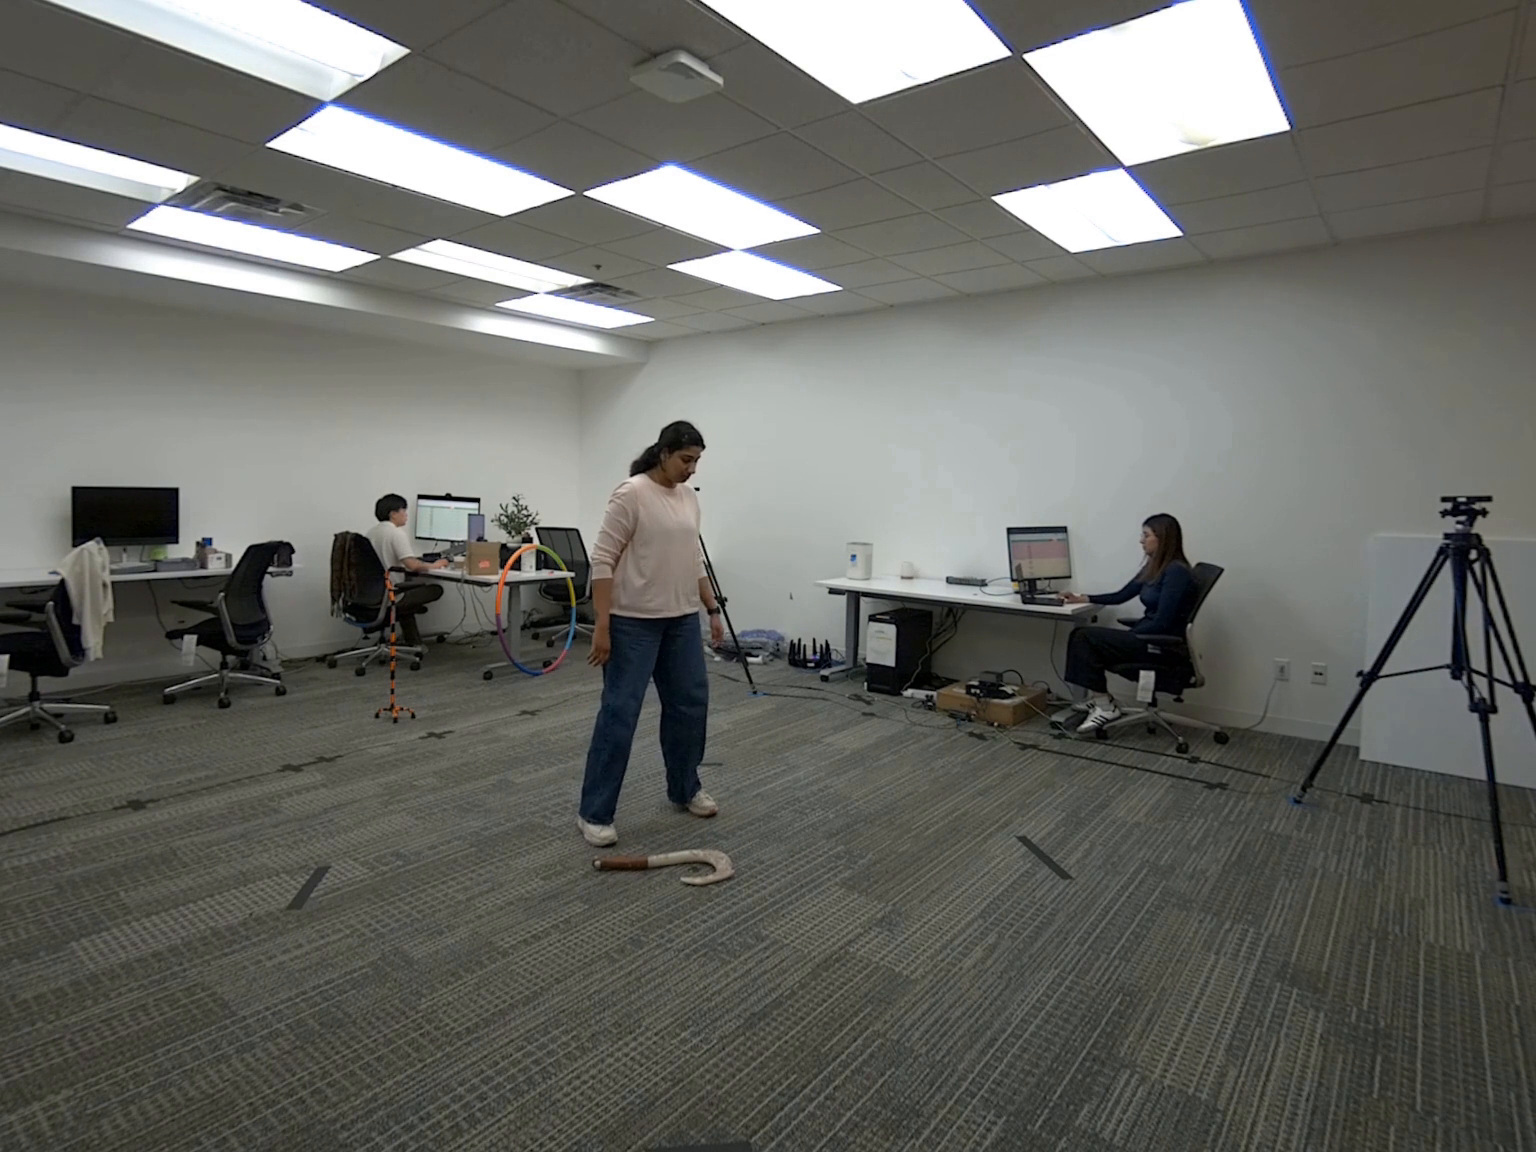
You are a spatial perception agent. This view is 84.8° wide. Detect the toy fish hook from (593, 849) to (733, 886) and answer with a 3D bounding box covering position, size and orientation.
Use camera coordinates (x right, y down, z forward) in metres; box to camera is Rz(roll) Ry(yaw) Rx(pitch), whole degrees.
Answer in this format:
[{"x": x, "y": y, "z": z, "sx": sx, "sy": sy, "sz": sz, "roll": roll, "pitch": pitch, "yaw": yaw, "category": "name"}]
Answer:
[{"x": -0.386, "y": 1.047, "z": 3.058, "sx": 0.502, "sy": 0.048, "sz": 0.227, "roll": -1, "pitch": 4, "yaw": -8, "category": "toy fish hook"}]
